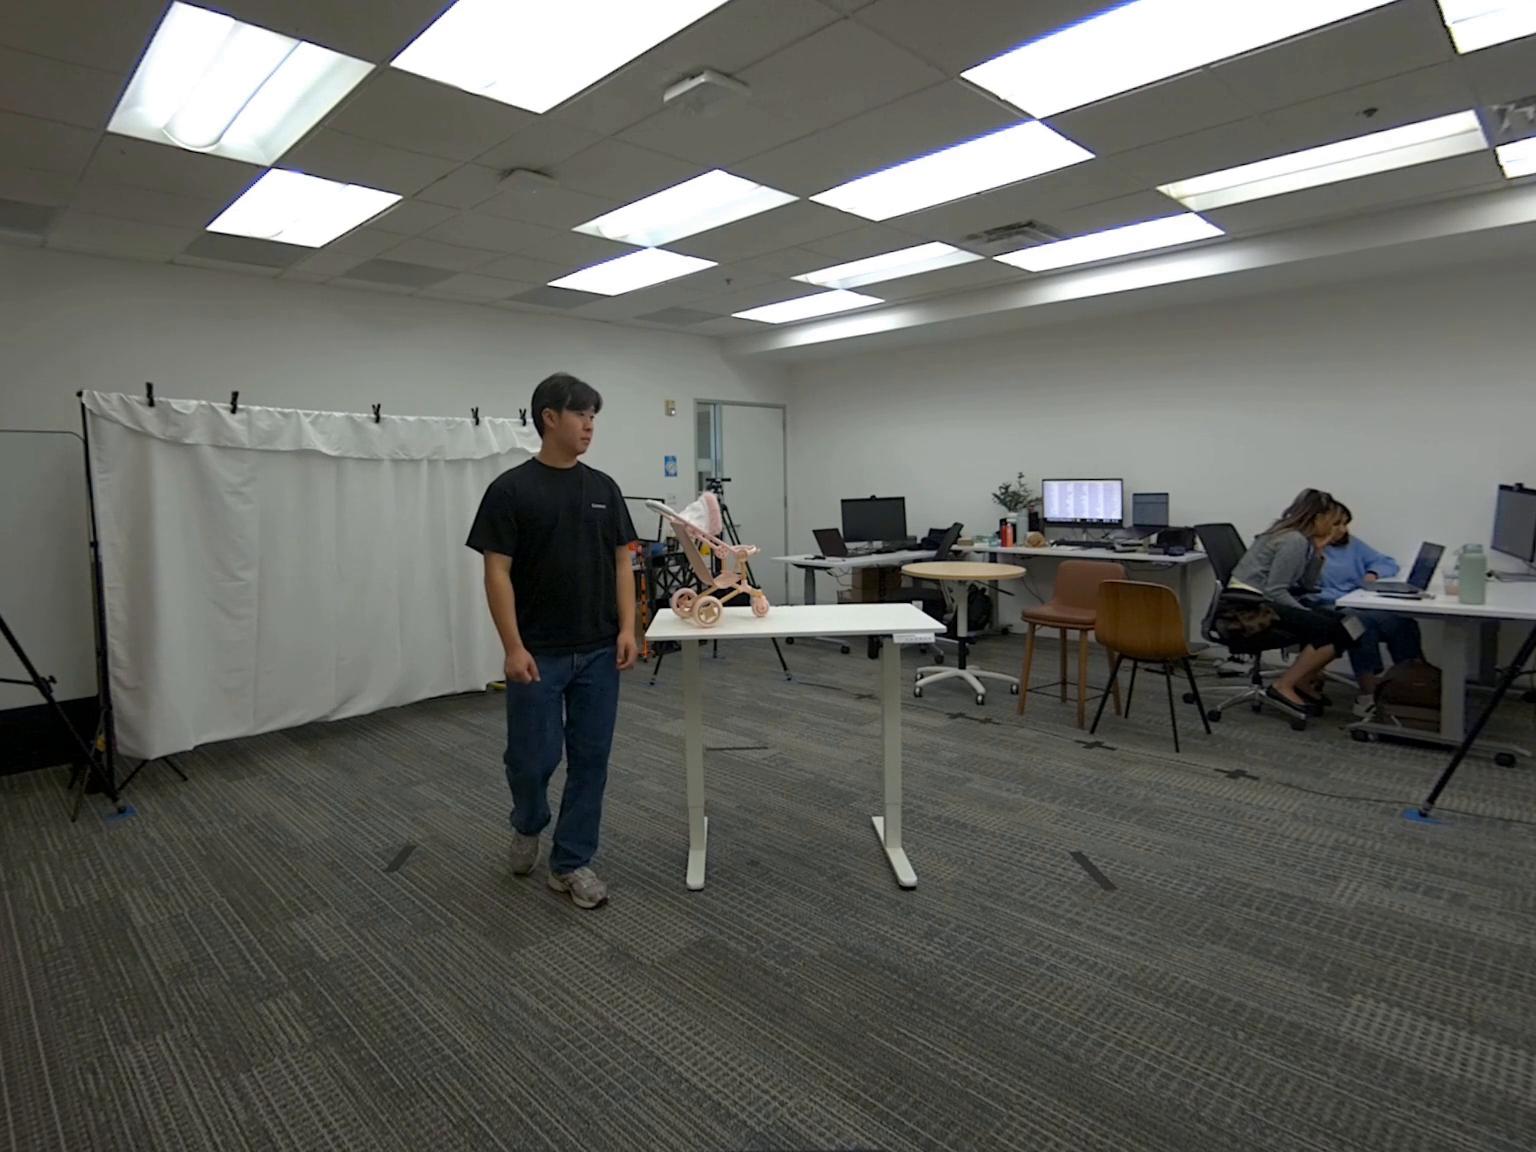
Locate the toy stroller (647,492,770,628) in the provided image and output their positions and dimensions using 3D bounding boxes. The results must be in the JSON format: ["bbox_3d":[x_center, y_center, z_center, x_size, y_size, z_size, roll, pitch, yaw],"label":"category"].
[{"bbox_3d":[-0.200,-0.061,3.089,0.338,0.530,0.287,-17,9,-15],"label":"toy stroller"}]
